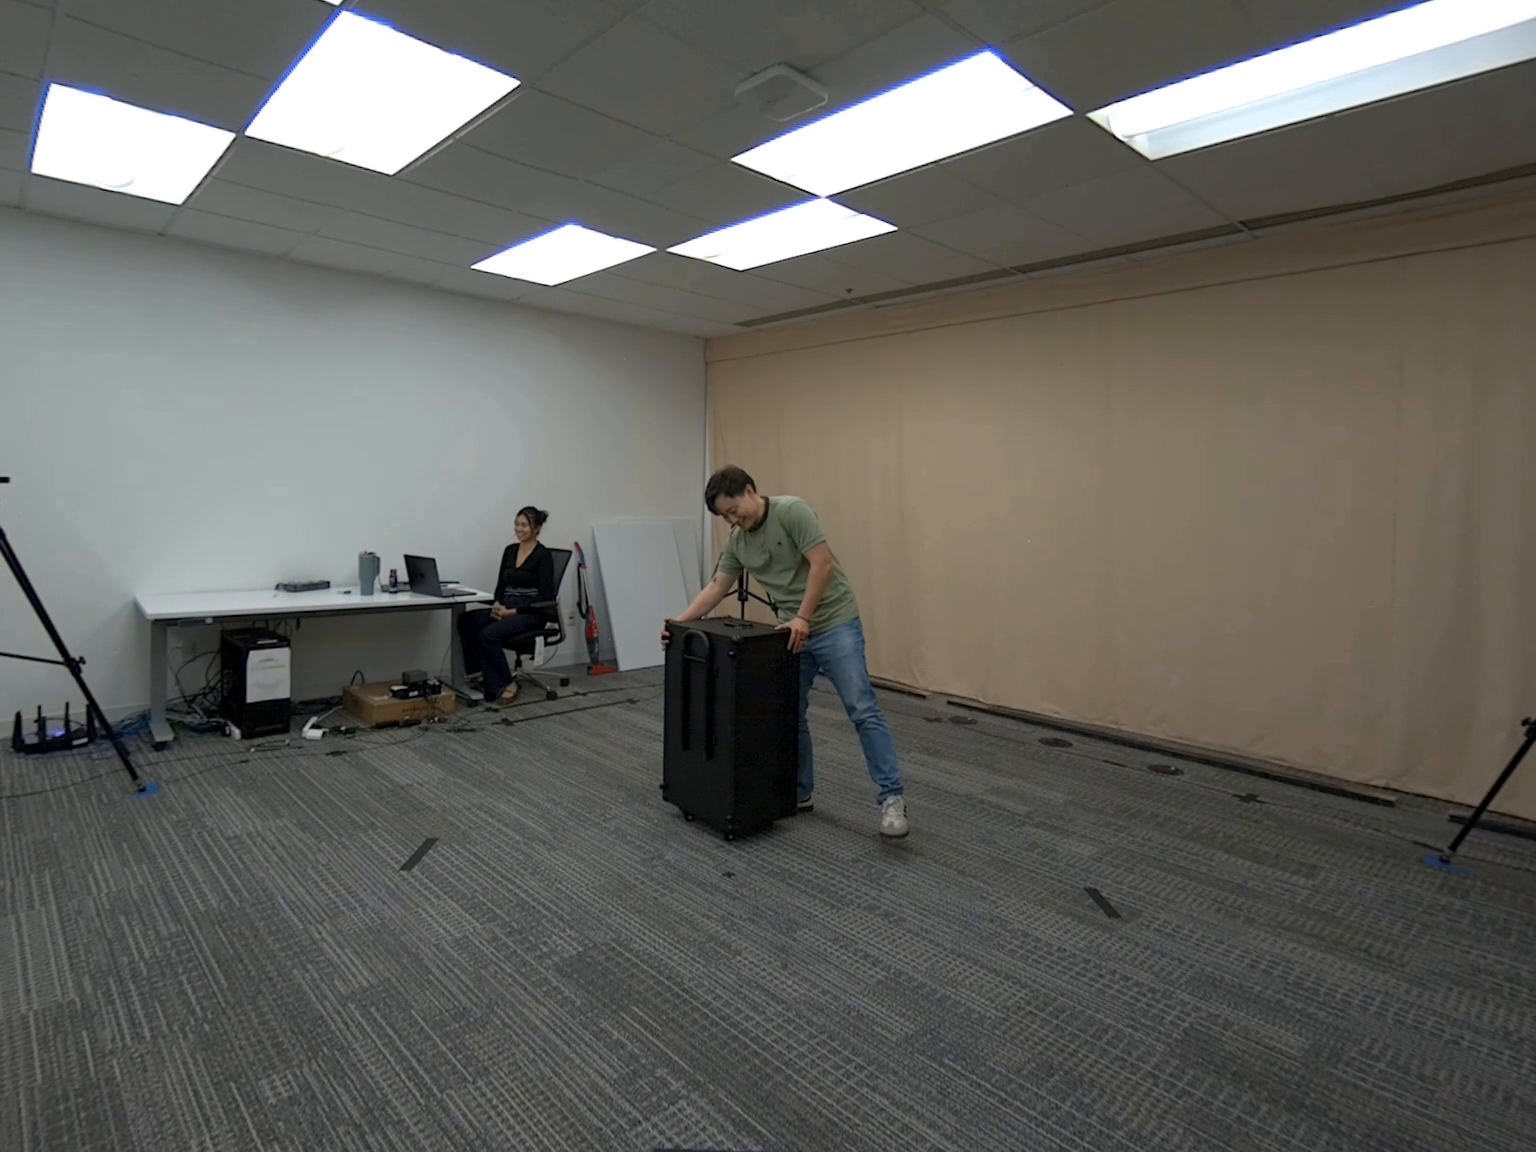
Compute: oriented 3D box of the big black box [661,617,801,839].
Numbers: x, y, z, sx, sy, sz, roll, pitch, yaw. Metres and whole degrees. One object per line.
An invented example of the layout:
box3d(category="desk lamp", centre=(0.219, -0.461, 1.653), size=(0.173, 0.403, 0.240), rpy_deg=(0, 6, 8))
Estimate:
box3d(category="big black box", centre=(-0.175, 0.635, 3.567), size=(0.387, 0.859, 0.534), rpy_deg=(-3, 5, -40))
